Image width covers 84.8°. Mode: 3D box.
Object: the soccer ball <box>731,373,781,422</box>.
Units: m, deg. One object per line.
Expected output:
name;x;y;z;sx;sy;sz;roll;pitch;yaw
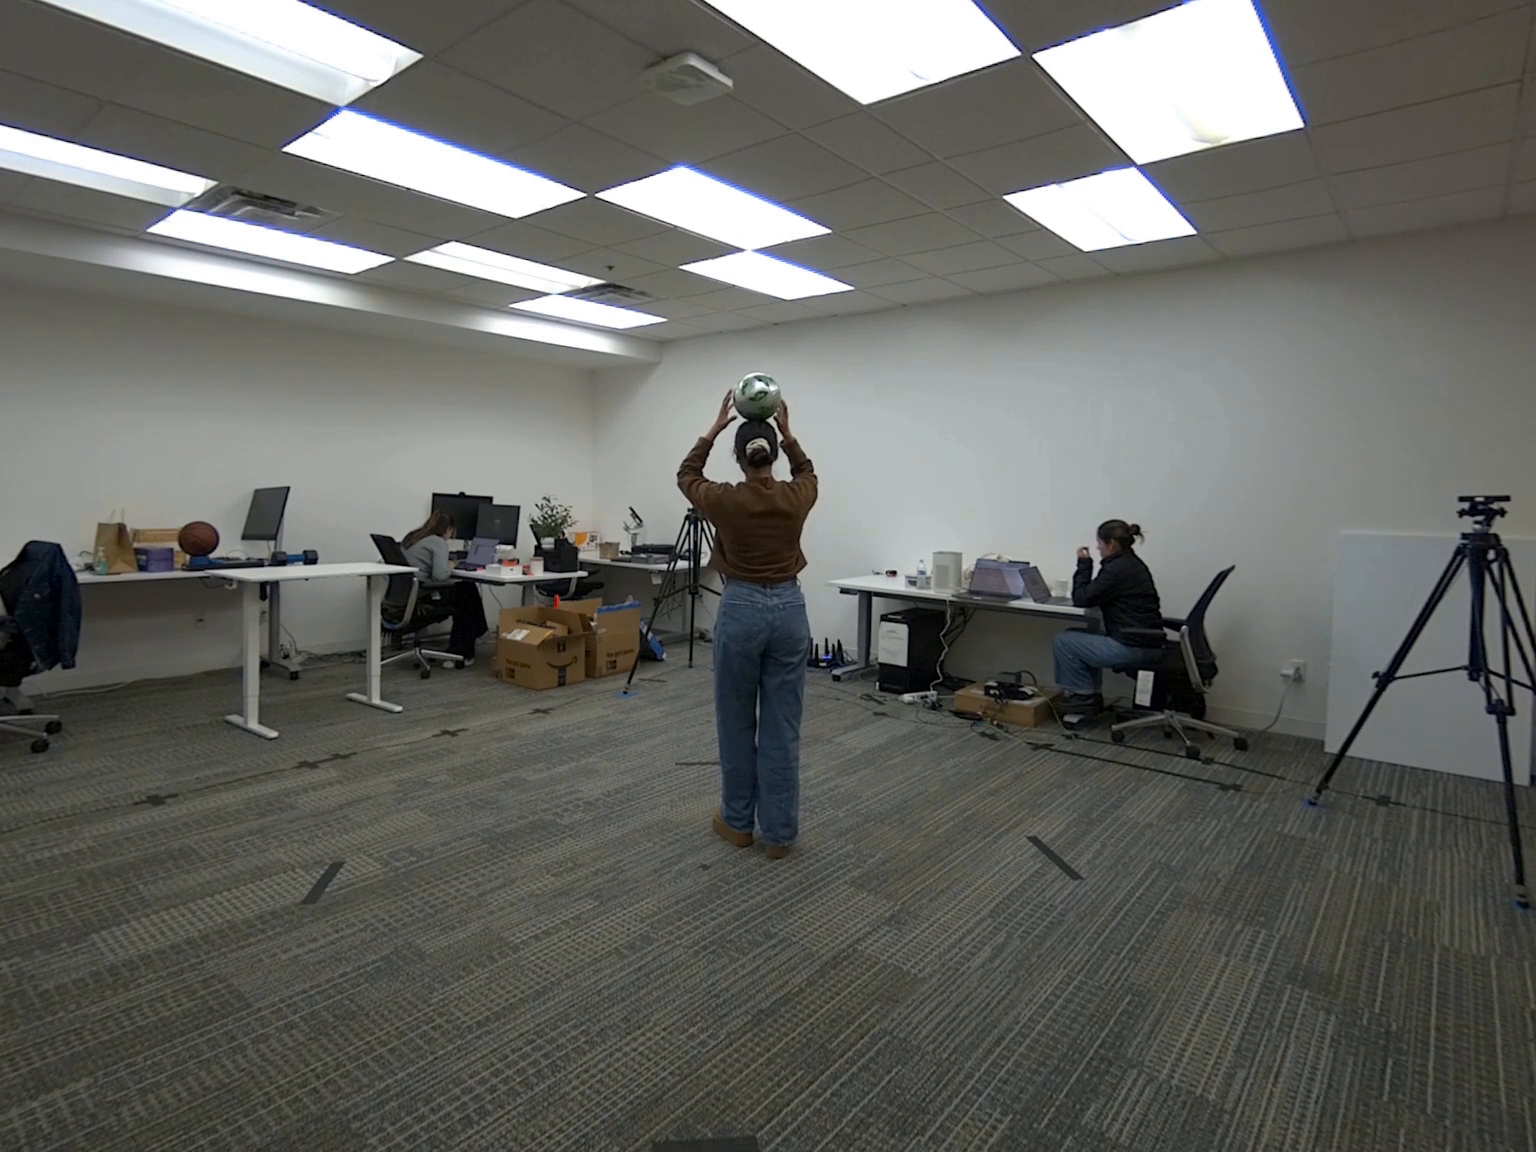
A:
soccer ball;-0.056;-0.697;3.307;0.187;0.187;0.188;1;4;-2
